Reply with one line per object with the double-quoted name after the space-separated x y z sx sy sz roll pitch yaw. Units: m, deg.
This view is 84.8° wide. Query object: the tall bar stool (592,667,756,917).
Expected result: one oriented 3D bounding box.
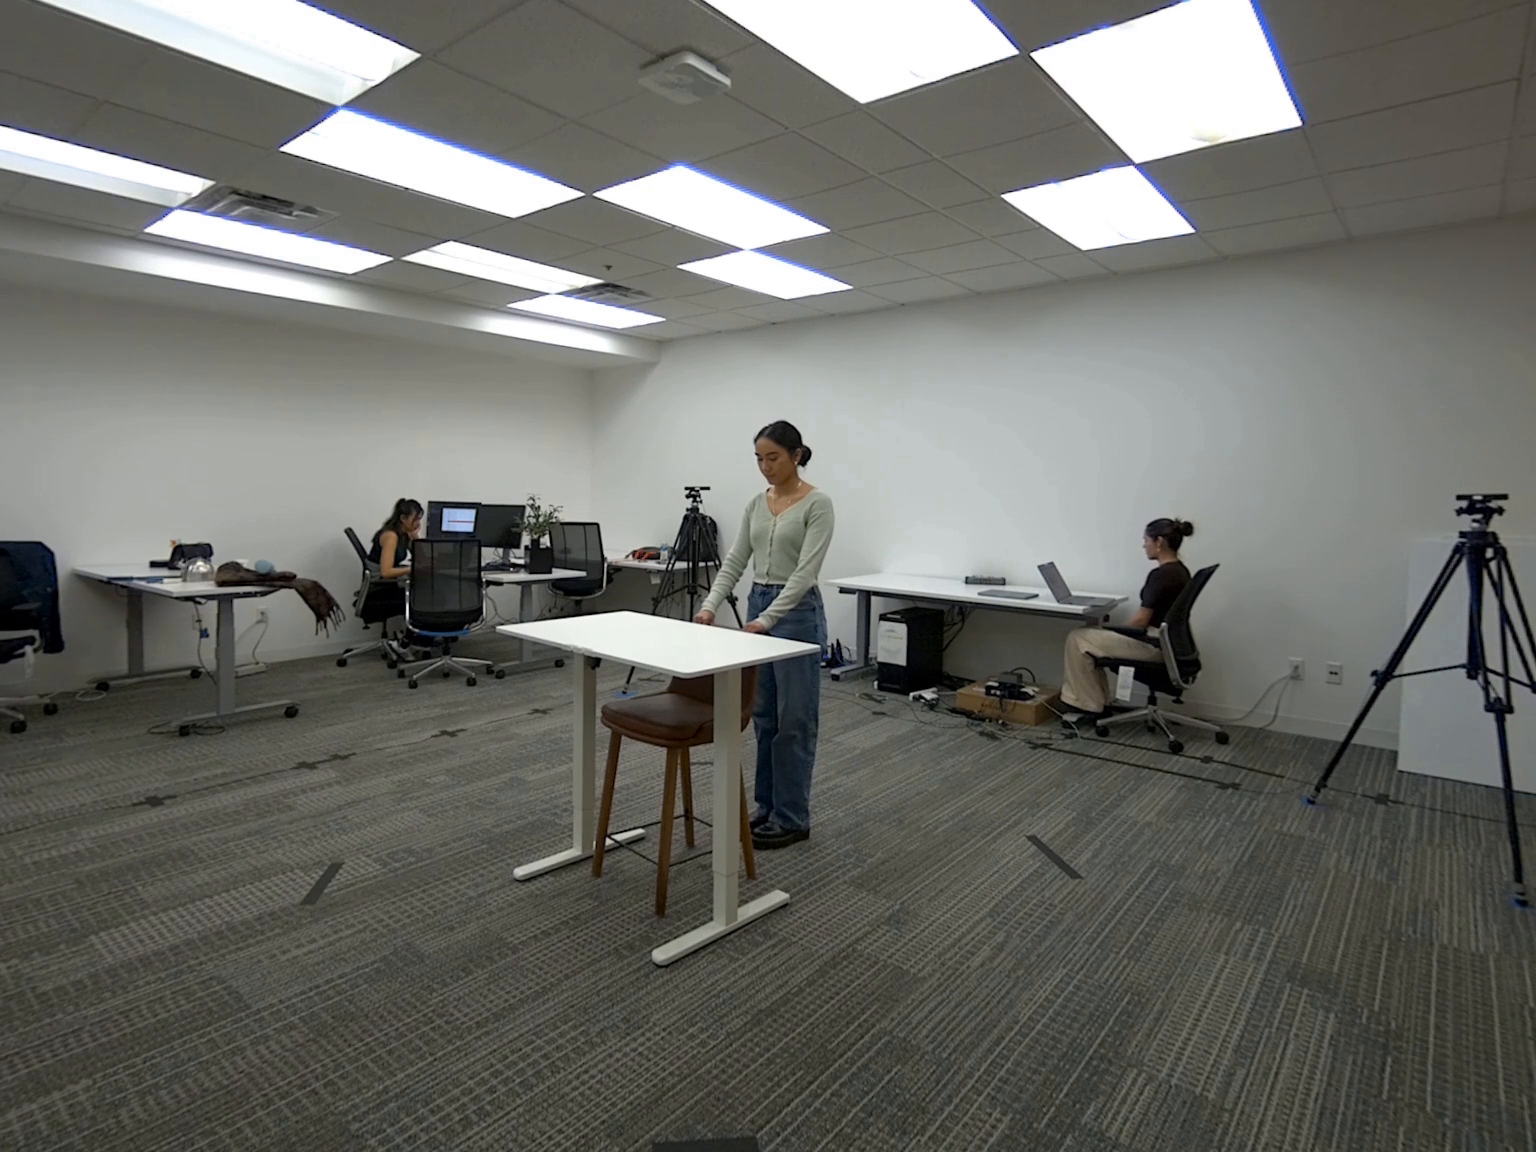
-0.325 0.640 3.017 0.453 0.889 0.472 1 1 -42 "tall bar stool"
